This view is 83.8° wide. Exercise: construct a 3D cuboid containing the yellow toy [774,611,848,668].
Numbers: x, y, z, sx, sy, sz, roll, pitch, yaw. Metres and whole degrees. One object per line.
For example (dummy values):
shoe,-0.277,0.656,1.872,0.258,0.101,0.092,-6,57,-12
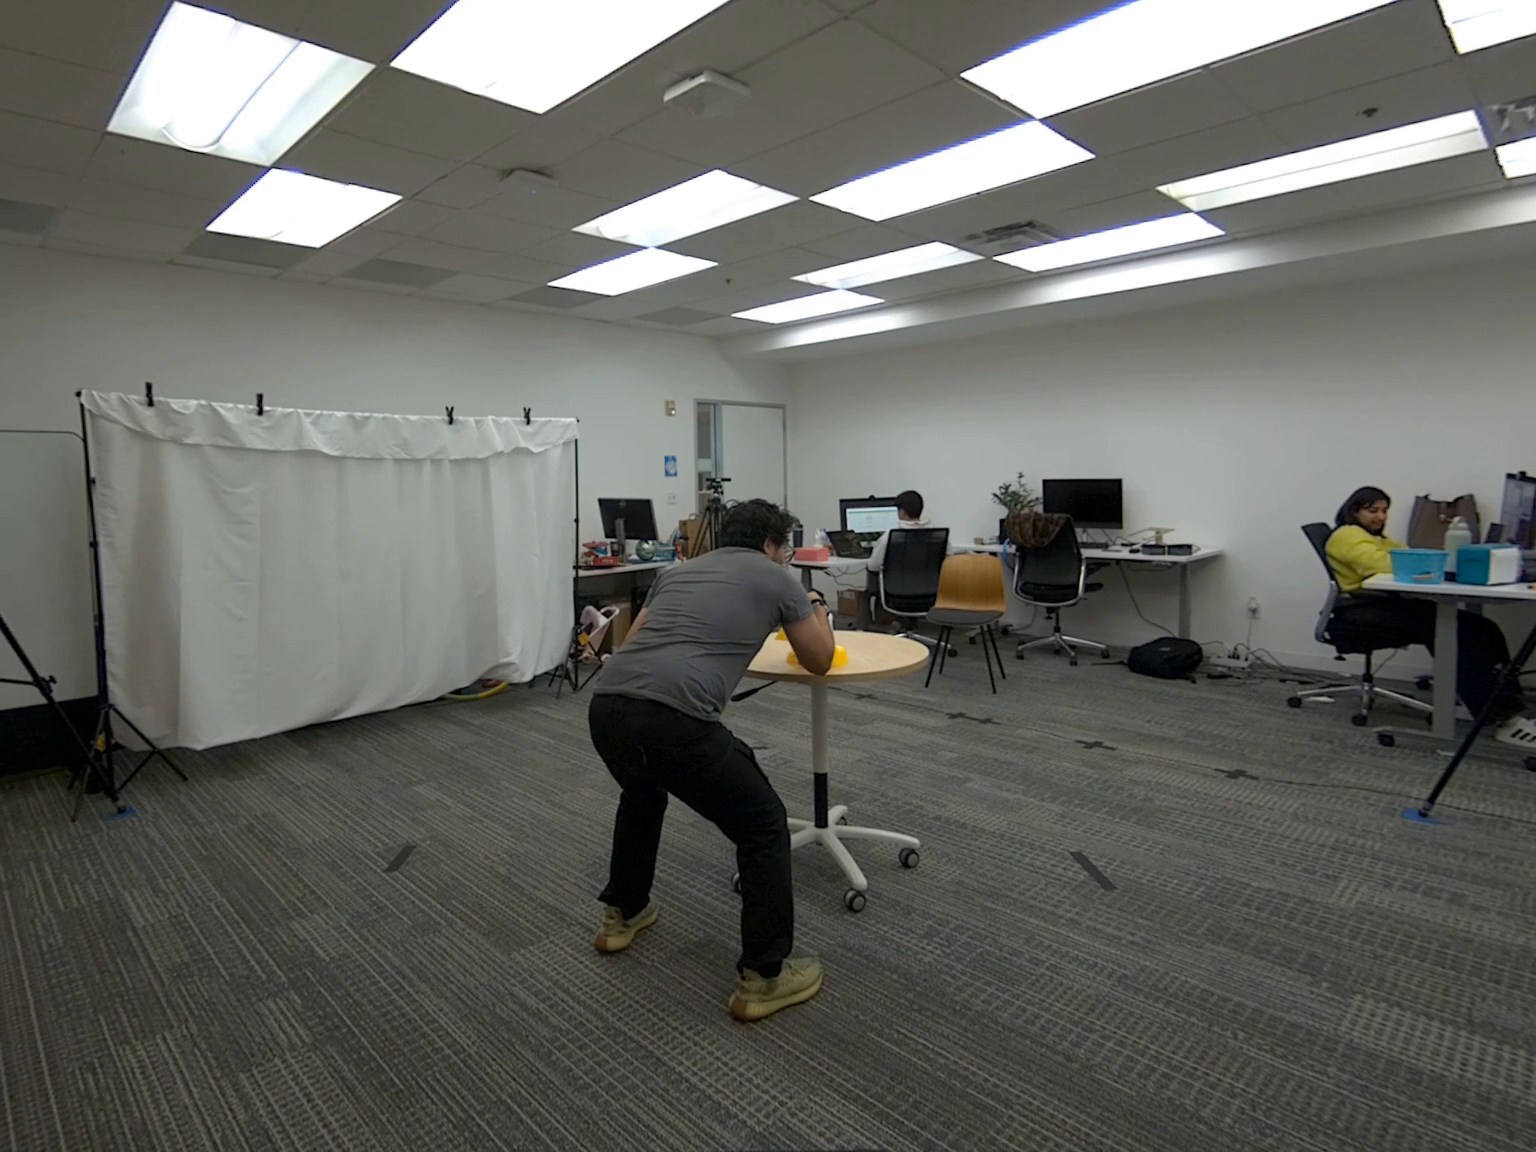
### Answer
yellow toy,0.161,0.172,2.851,0.211,0.230,0.188,3,6,38
